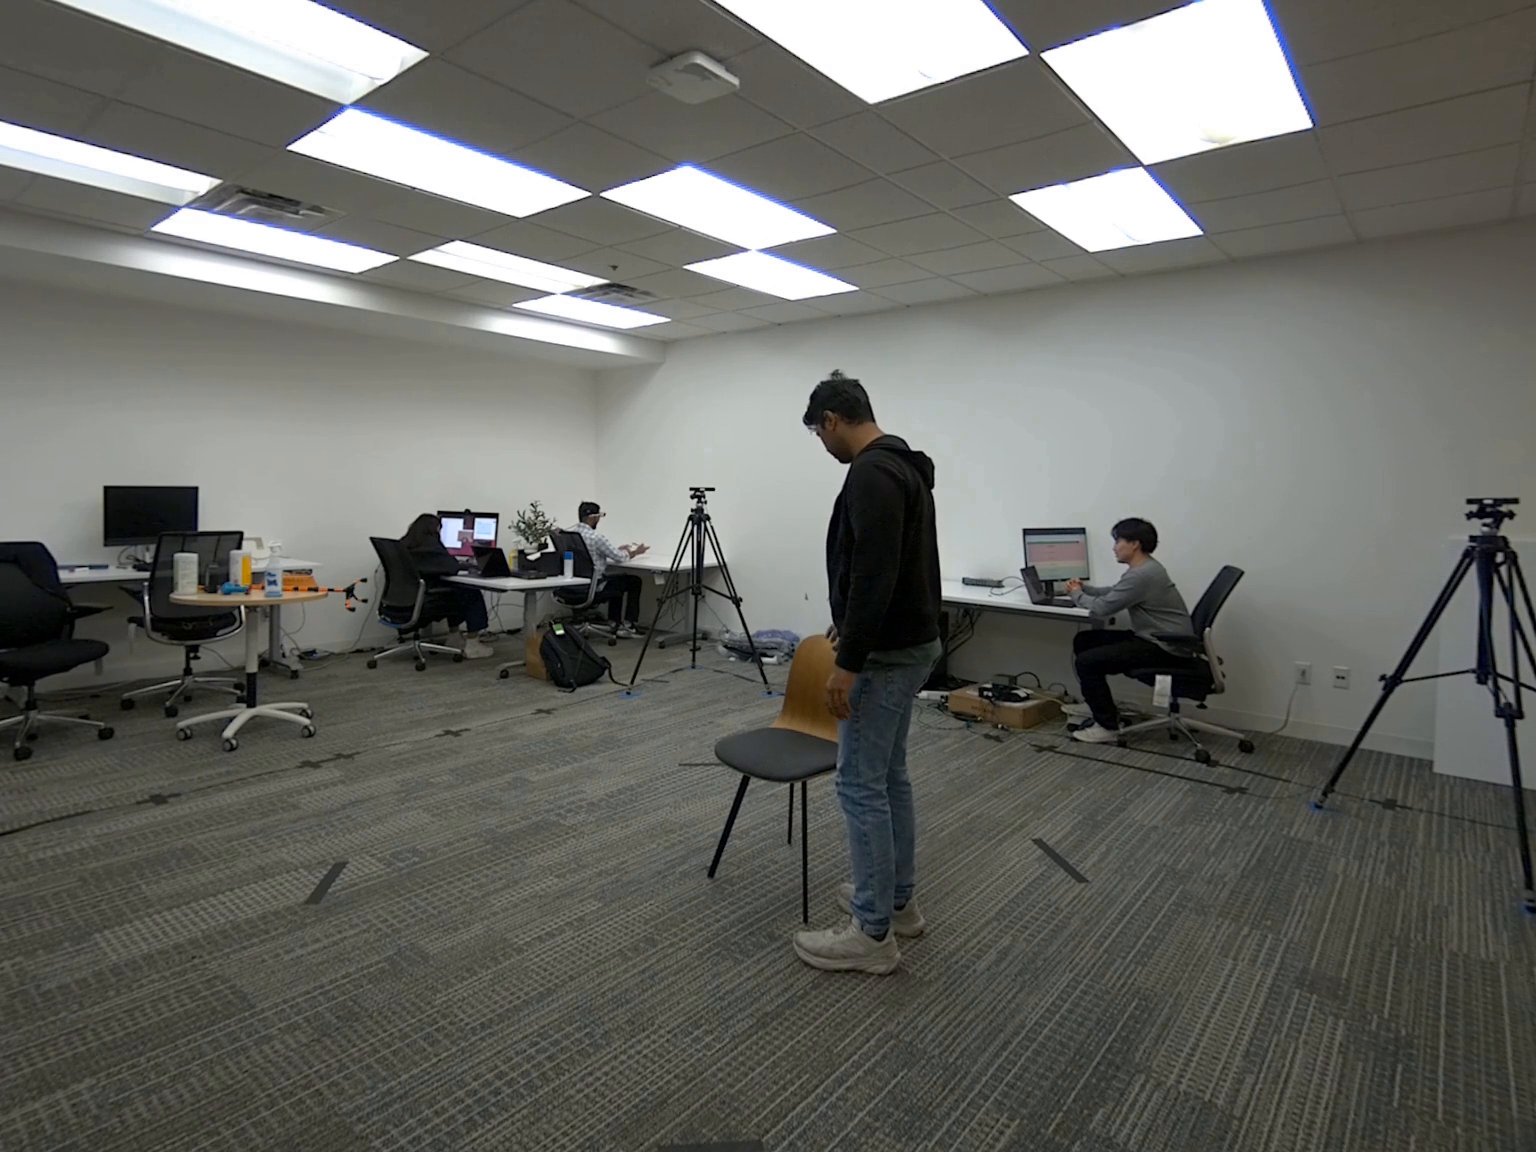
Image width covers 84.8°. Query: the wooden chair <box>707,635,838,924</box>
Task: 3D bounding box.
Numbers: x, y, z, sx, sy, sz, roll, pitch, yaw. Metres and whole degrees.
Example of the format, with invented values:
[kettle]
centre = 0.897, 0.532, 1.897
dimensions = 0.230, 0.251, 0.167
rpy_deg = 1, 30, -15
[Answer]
[wooden chair]
centre = 0.092, 0.654, 3.013
dimensions = 0.494, 0.877, 0.505
rpy_deg = 5, 0, 43
